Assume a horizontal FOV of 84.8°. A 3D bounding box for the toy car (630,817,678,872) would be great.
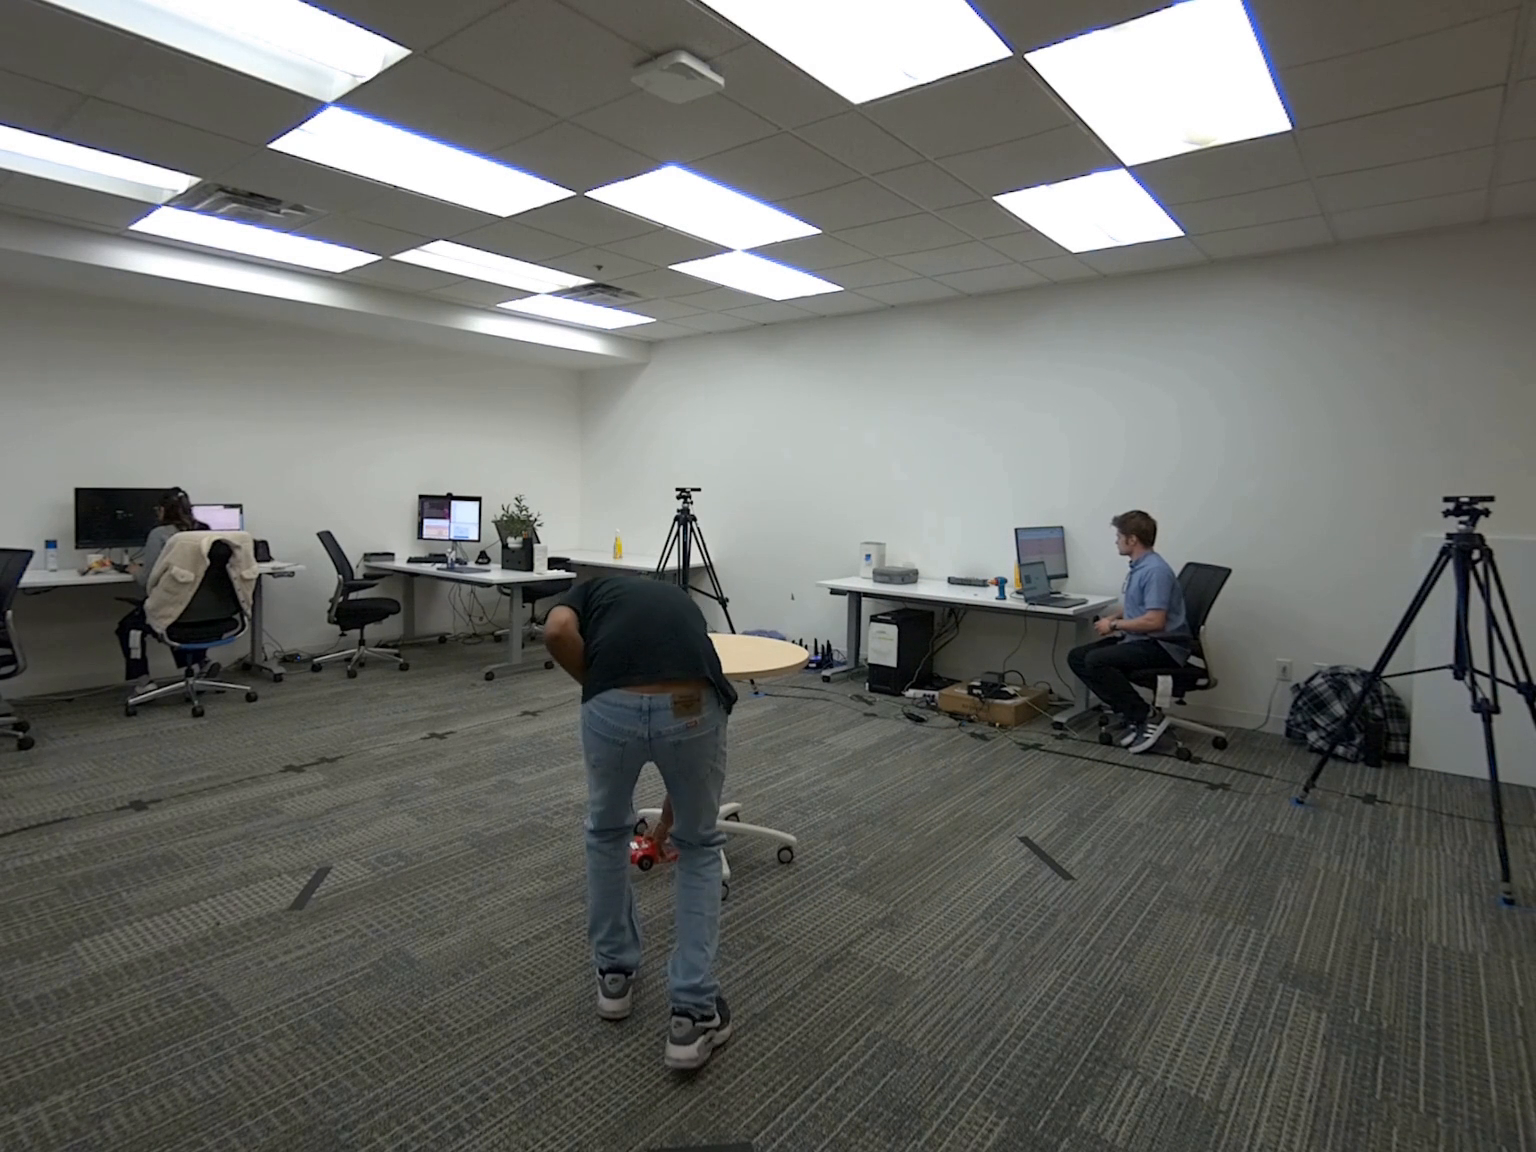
[{"bbox_3d":[-0.347,0.864,2.643,0.251,0.083,0.132,11,-1,-12],"label":"toy car"}]
